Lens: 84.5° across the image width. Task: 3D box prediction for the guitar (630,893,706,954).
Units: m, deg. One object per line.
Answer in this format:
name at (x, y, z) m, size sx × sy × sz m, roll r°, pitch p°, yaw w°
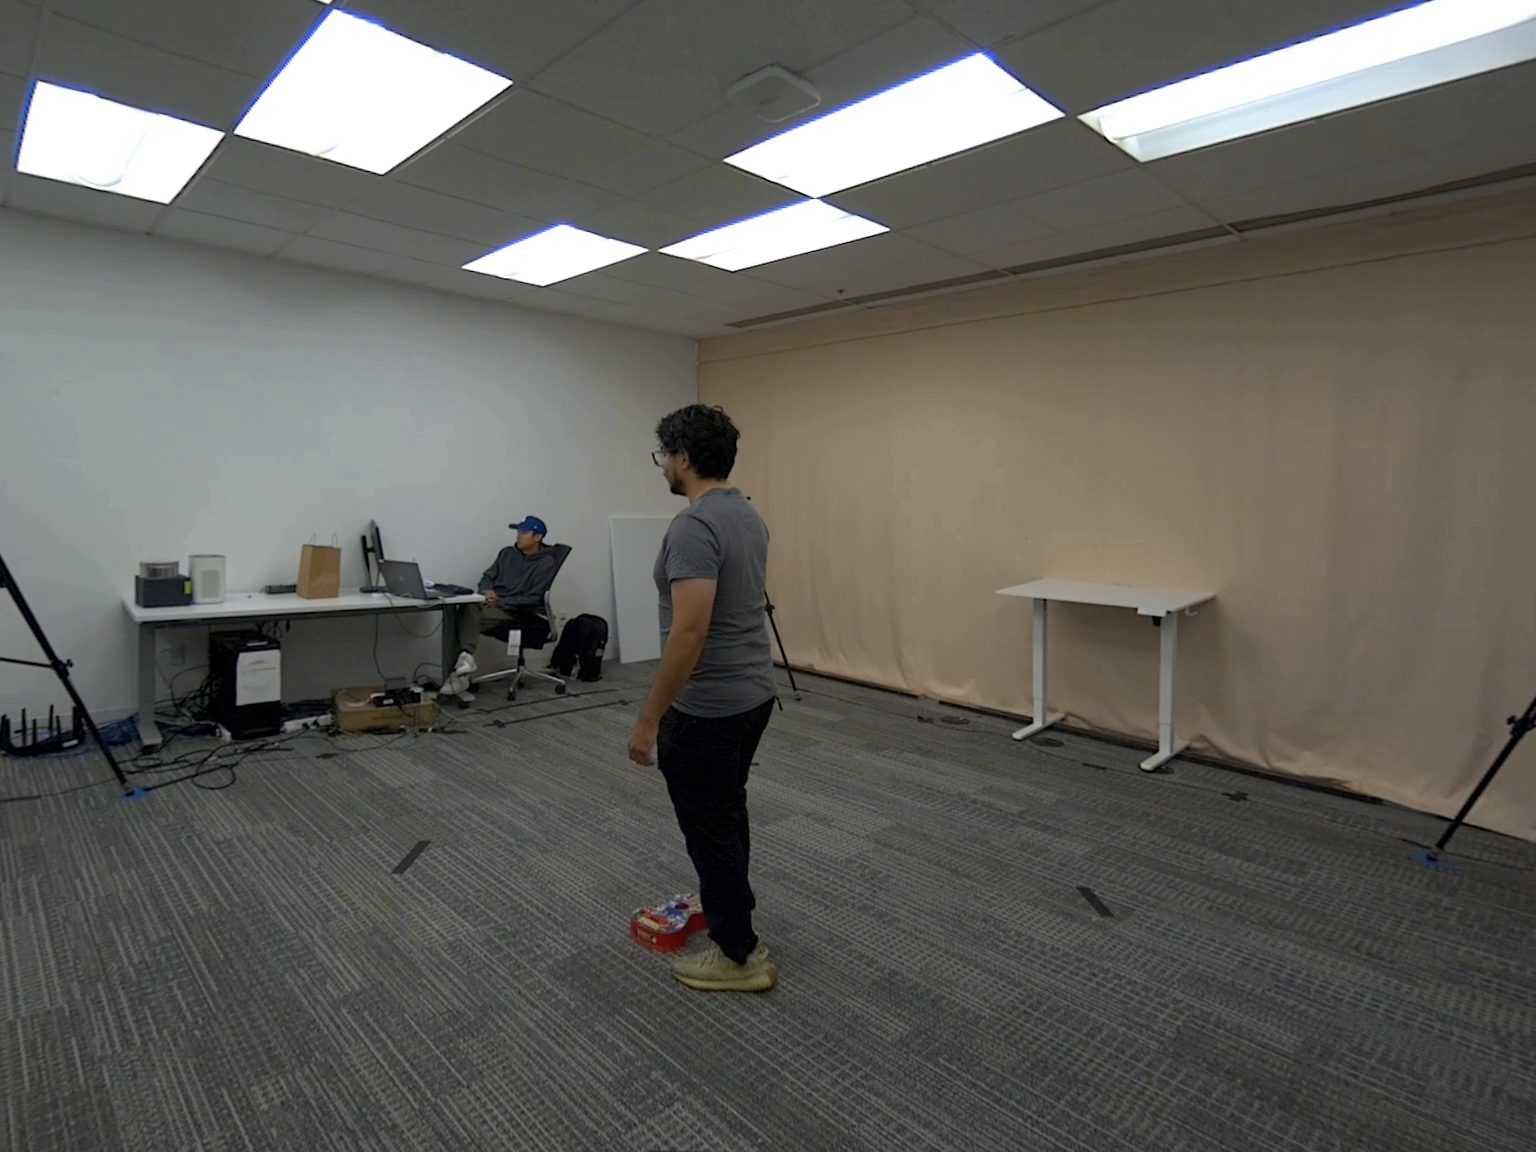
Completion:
guitar at (-0.224, 1.101, 2.776) m, size 0.487 × 0.070 × 0.198 m, roll -4°, pitch 7°, yaw -43°
